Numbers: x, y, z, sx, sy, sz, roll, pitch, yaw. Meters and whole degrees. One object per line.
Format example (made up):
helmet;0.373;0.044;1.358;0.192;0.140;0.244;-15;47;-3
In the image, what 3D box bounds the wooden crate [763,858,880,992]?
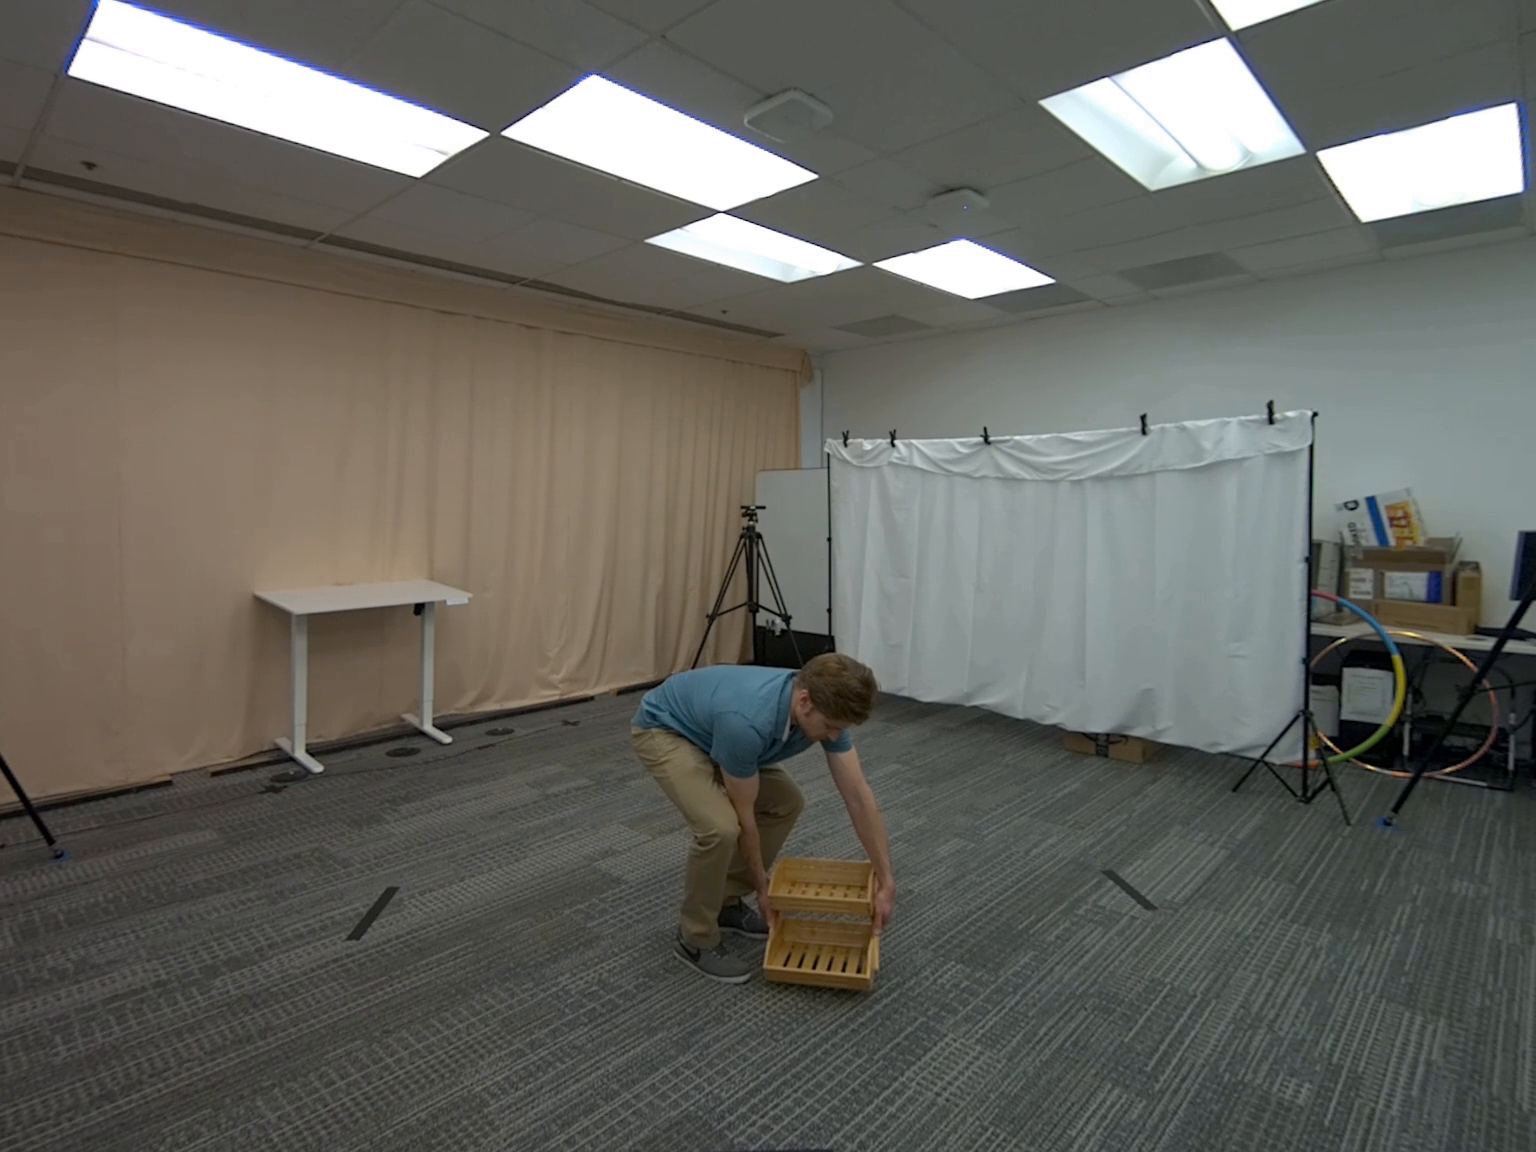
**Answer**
wooden crate;0.169;1.026;2.483;0.330;0.273;0.297;-2;0;14
